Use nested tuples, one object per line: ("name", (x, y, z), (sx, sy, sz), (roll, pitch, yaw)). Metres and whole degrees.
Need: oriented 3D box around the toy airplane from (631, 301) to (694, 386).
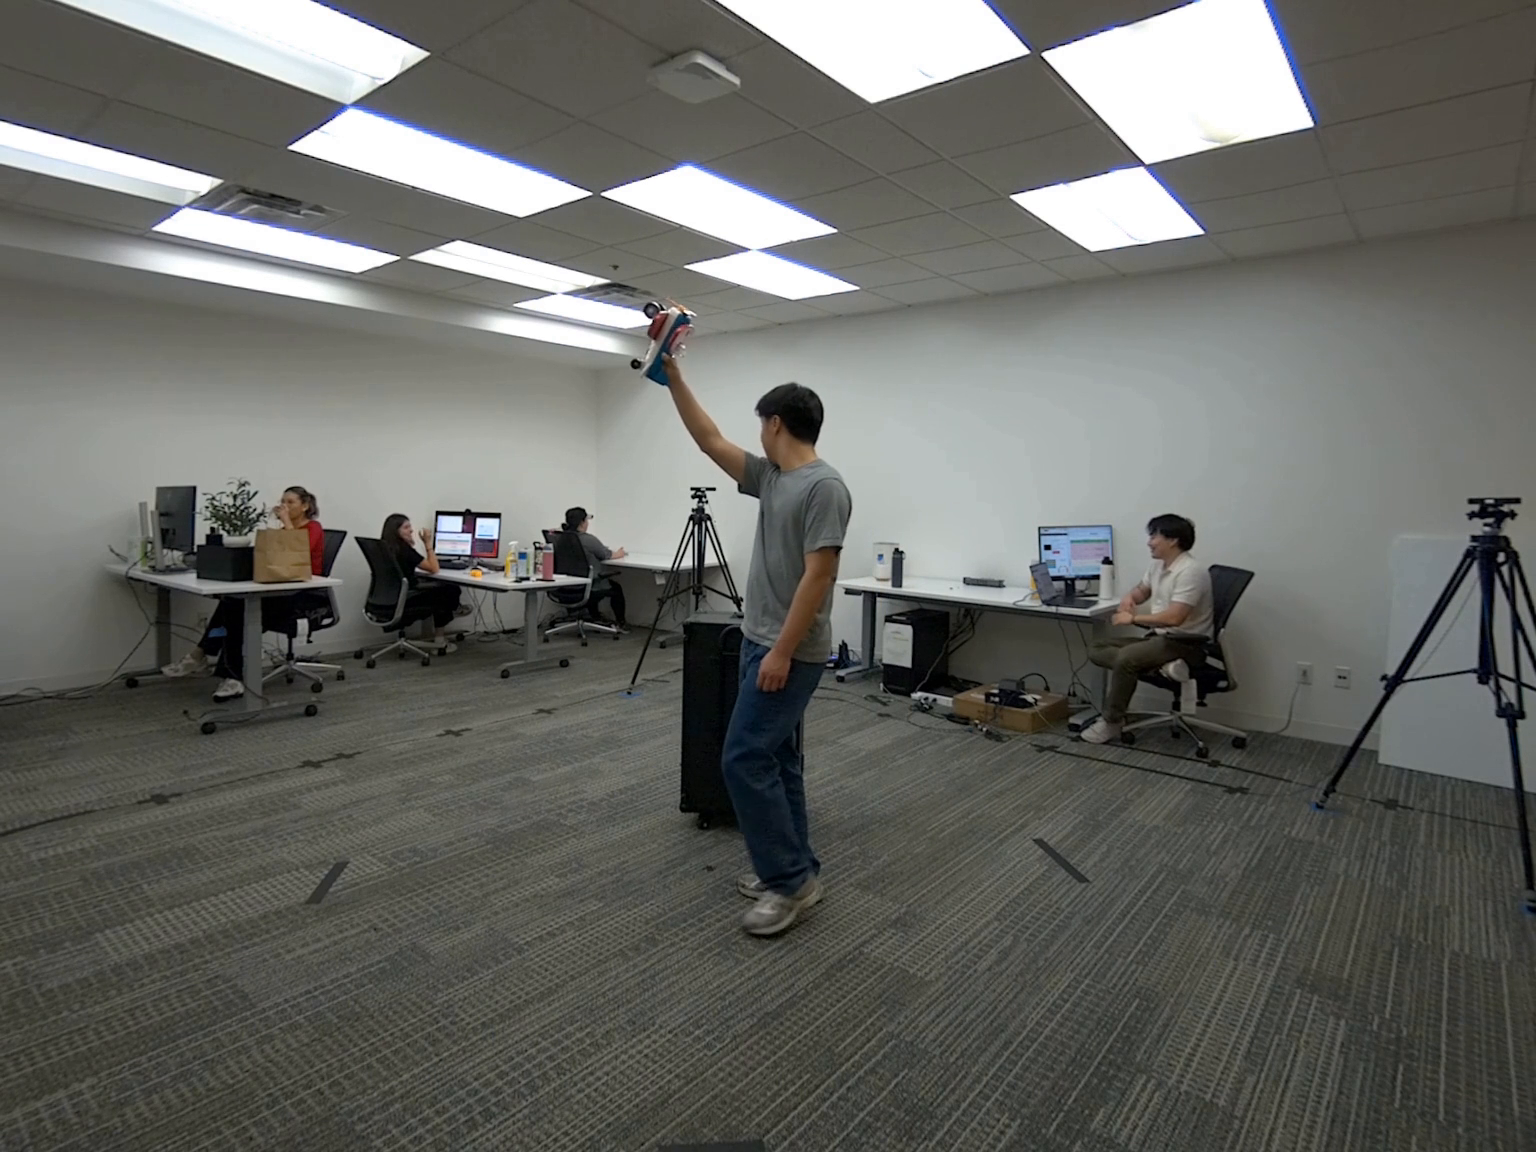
("toy airplane", (-0.349, -0.765, 2.775), (0.157, 0.254, 0.255), (19, 43, 2))
